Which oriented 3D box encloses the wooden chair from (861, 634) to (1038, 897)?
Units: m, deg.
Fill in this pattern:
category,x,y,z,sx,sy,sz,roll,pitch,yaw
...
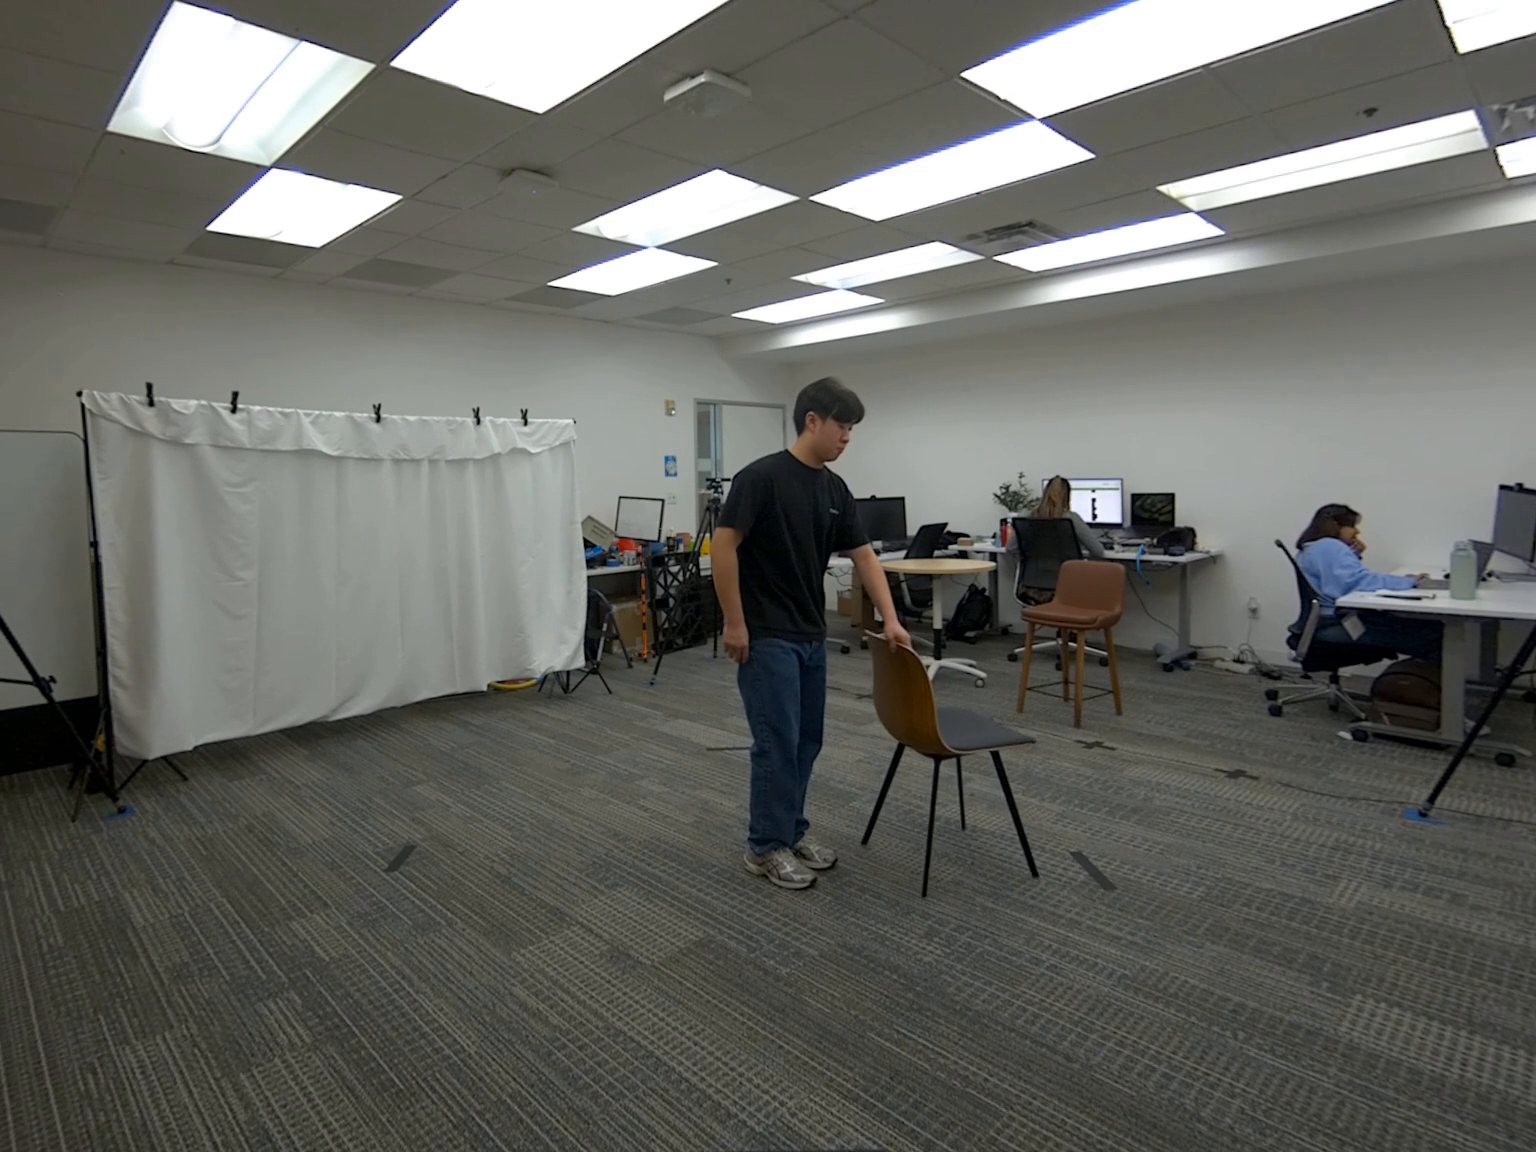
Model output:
category,x,y,z,sx,sy,sz,roll,pitch,yaw
wooden chair,0.641,0.600,3.076,0.515,0.873,0.488,-6,5,-19
